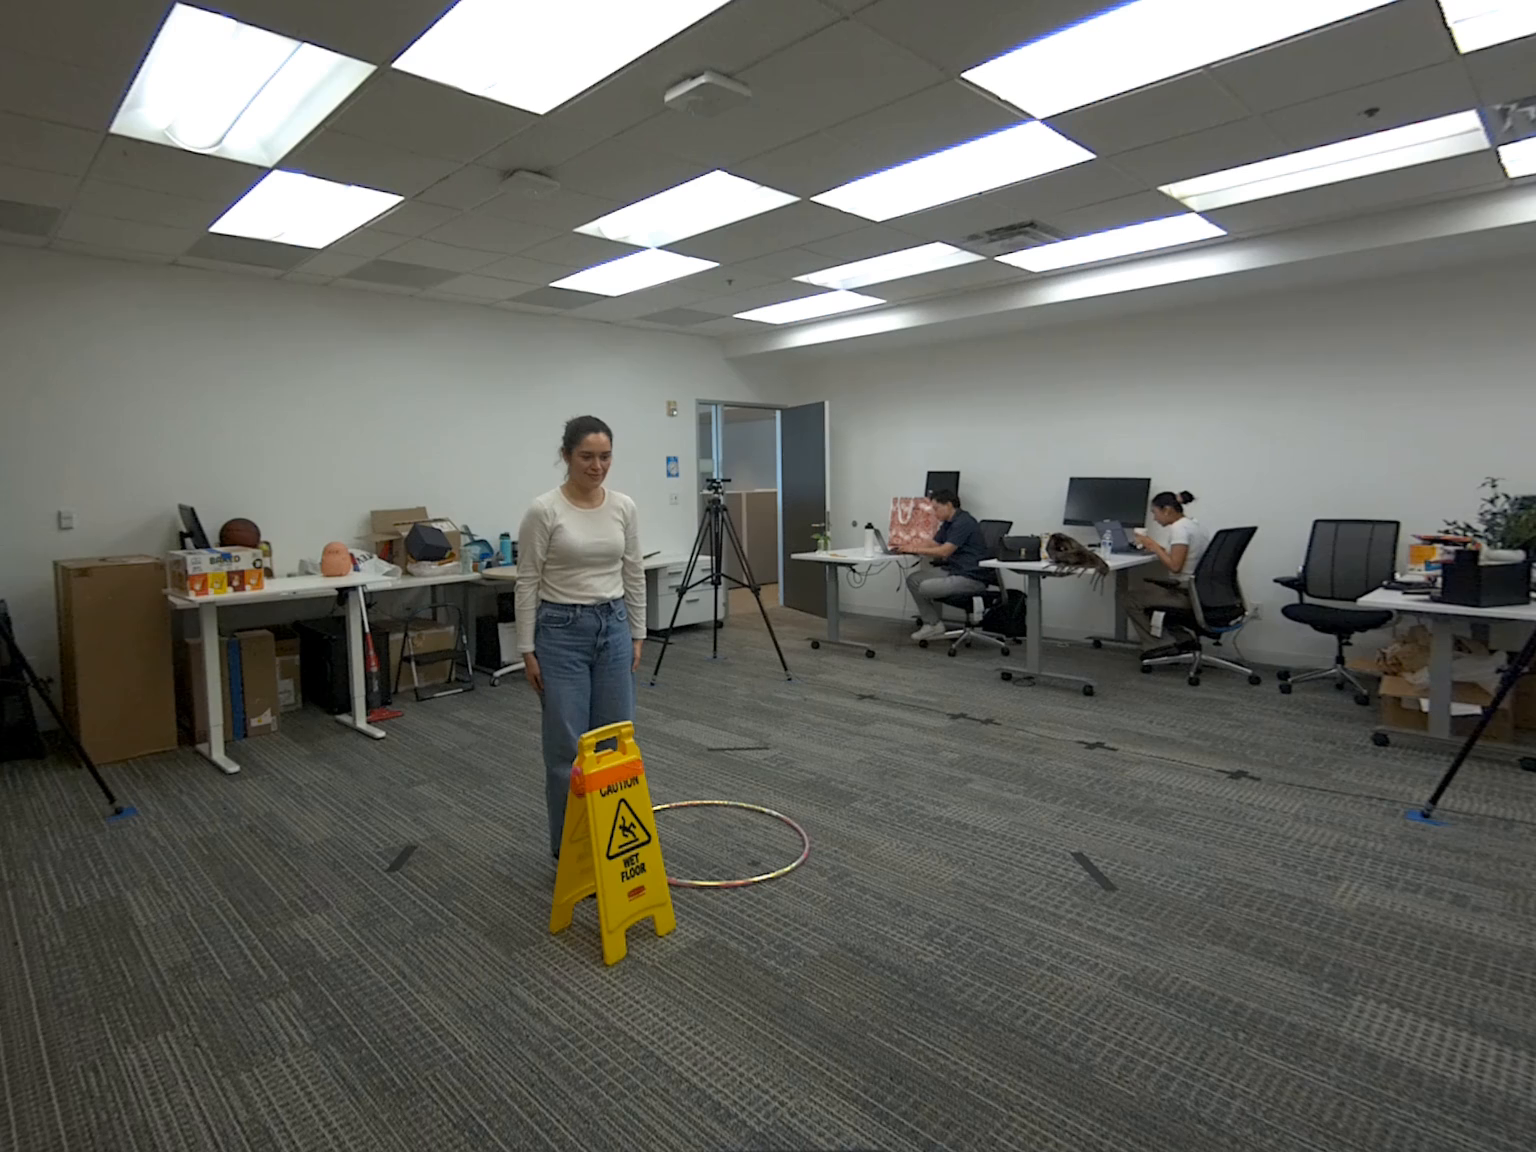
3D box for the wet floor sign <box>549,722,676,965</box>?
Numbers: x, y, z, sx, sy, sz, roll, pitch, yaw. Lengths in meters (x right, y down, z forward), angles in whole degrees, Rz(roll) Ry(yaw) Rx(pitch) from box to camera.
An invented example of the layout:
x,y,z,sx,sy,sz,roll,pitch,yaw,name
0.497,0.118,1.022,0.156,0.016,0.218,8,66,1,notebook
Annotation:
x,y,z,sx,sy,sz,roll,pitch,yaw,name
-0.483,0.781,2.641,0.298,0.643,0.275,3,6,41,wet floor sign
